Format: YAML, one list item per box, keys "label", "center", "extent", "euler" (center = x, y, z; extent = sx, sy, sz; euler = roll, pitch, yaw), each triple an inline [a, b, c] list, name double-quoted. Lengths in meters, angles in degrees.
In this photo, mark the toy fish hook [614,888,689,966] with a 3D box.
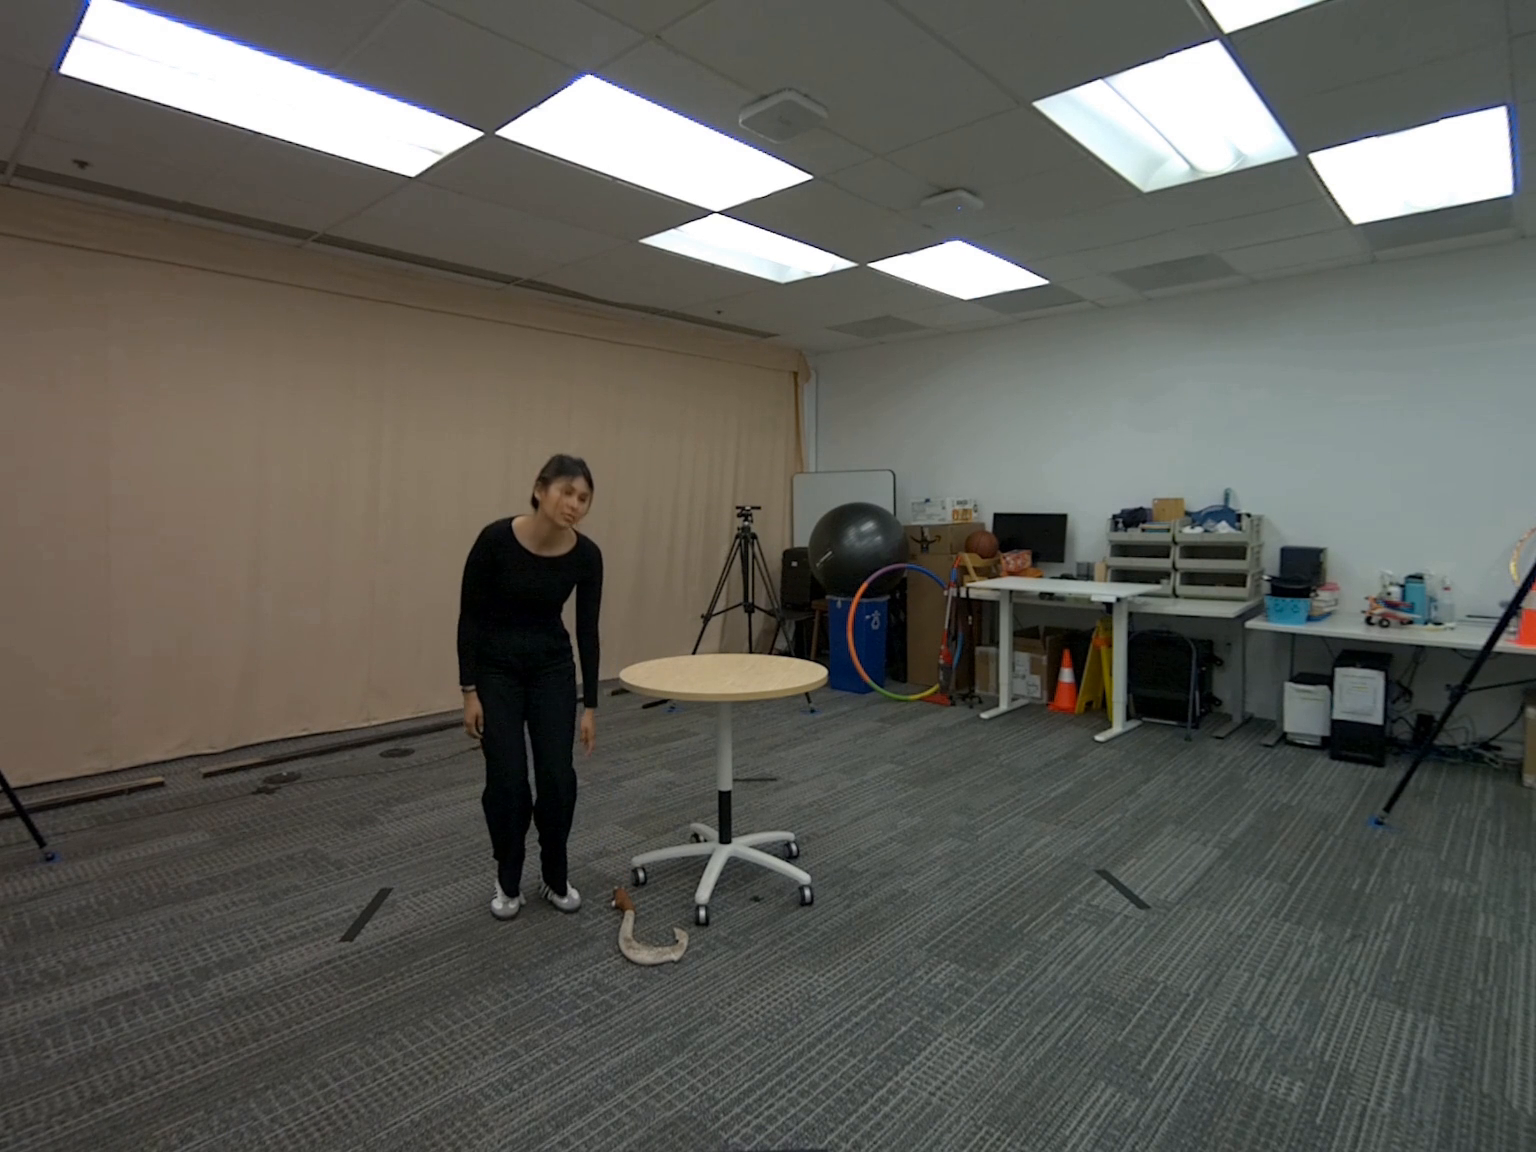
- label: "toy fish hook"
  center: [-0.403, 1.146, 2.787]
  extent: [0.220, 0.048, 0.517]
  euler: [7, 3, -19]
